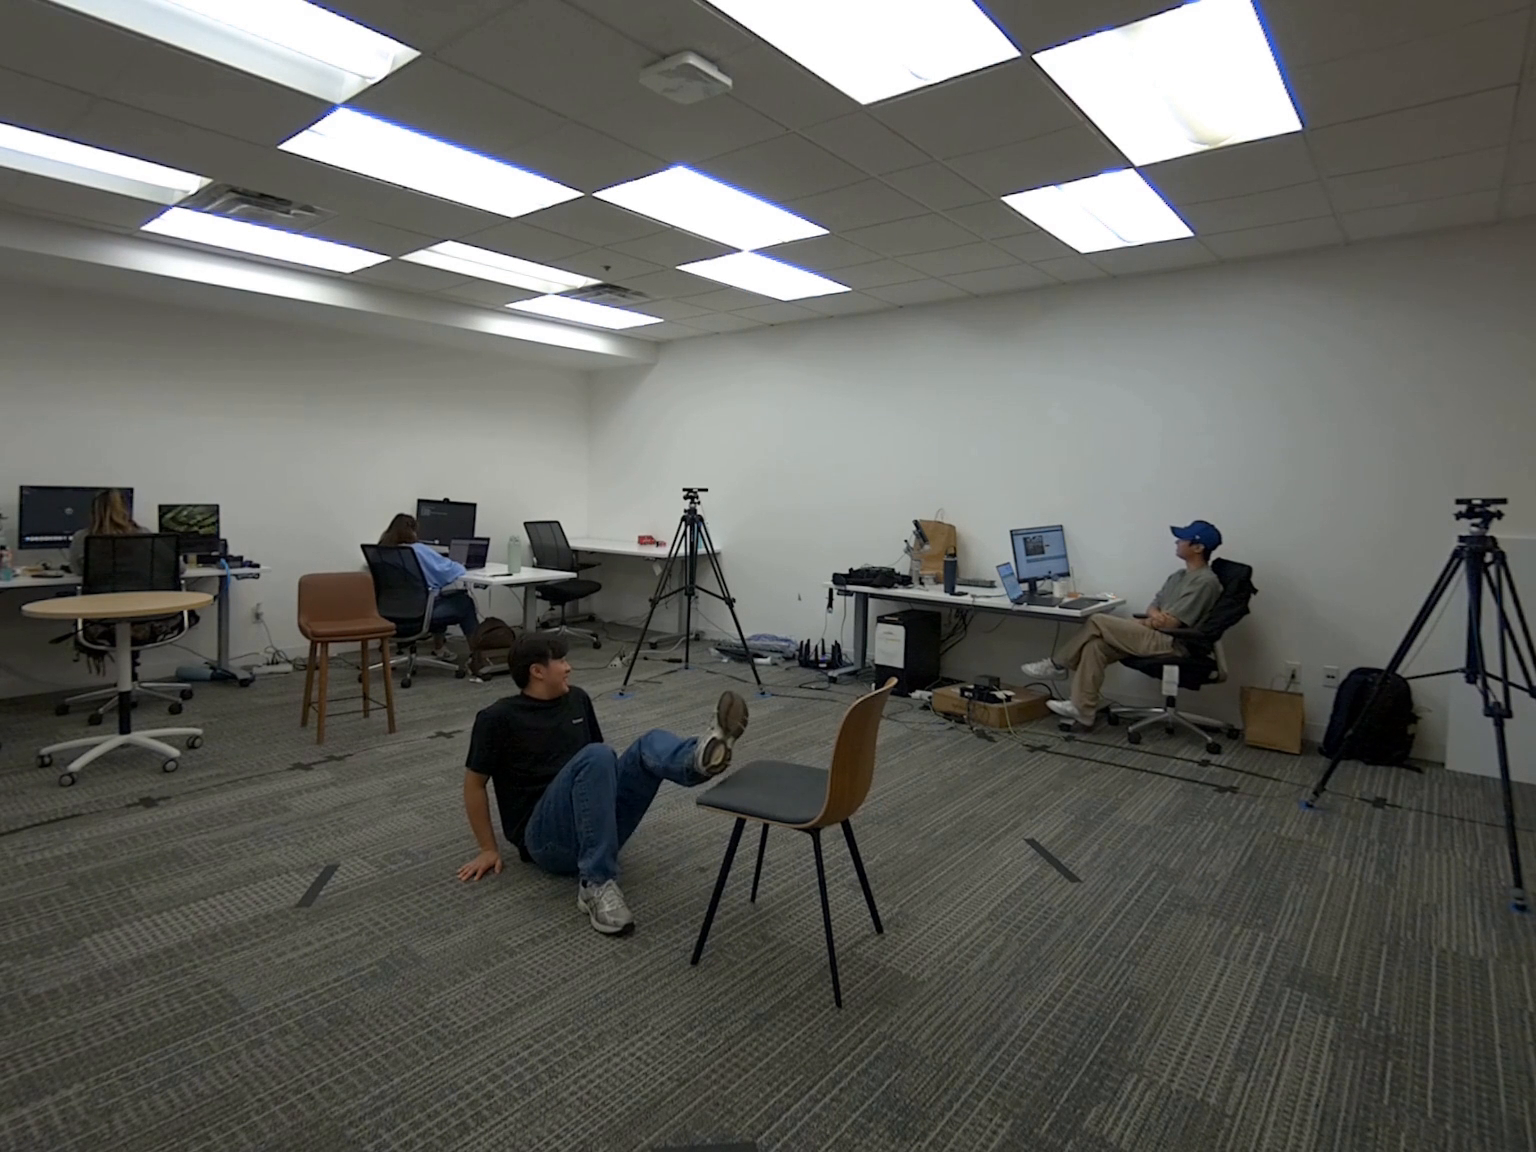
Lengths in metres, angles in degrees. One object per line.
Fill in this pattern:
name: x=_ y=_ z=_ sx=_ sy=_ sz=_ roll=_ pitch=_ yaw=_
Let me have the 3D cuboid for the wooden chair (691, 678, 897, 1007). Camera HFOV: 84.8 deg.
wooden chair: x=0.068 y=0.701 z=2.561 sx=0.537 sy=0.874 sz=0.467 roll=8 pitch=6 yaw=24
